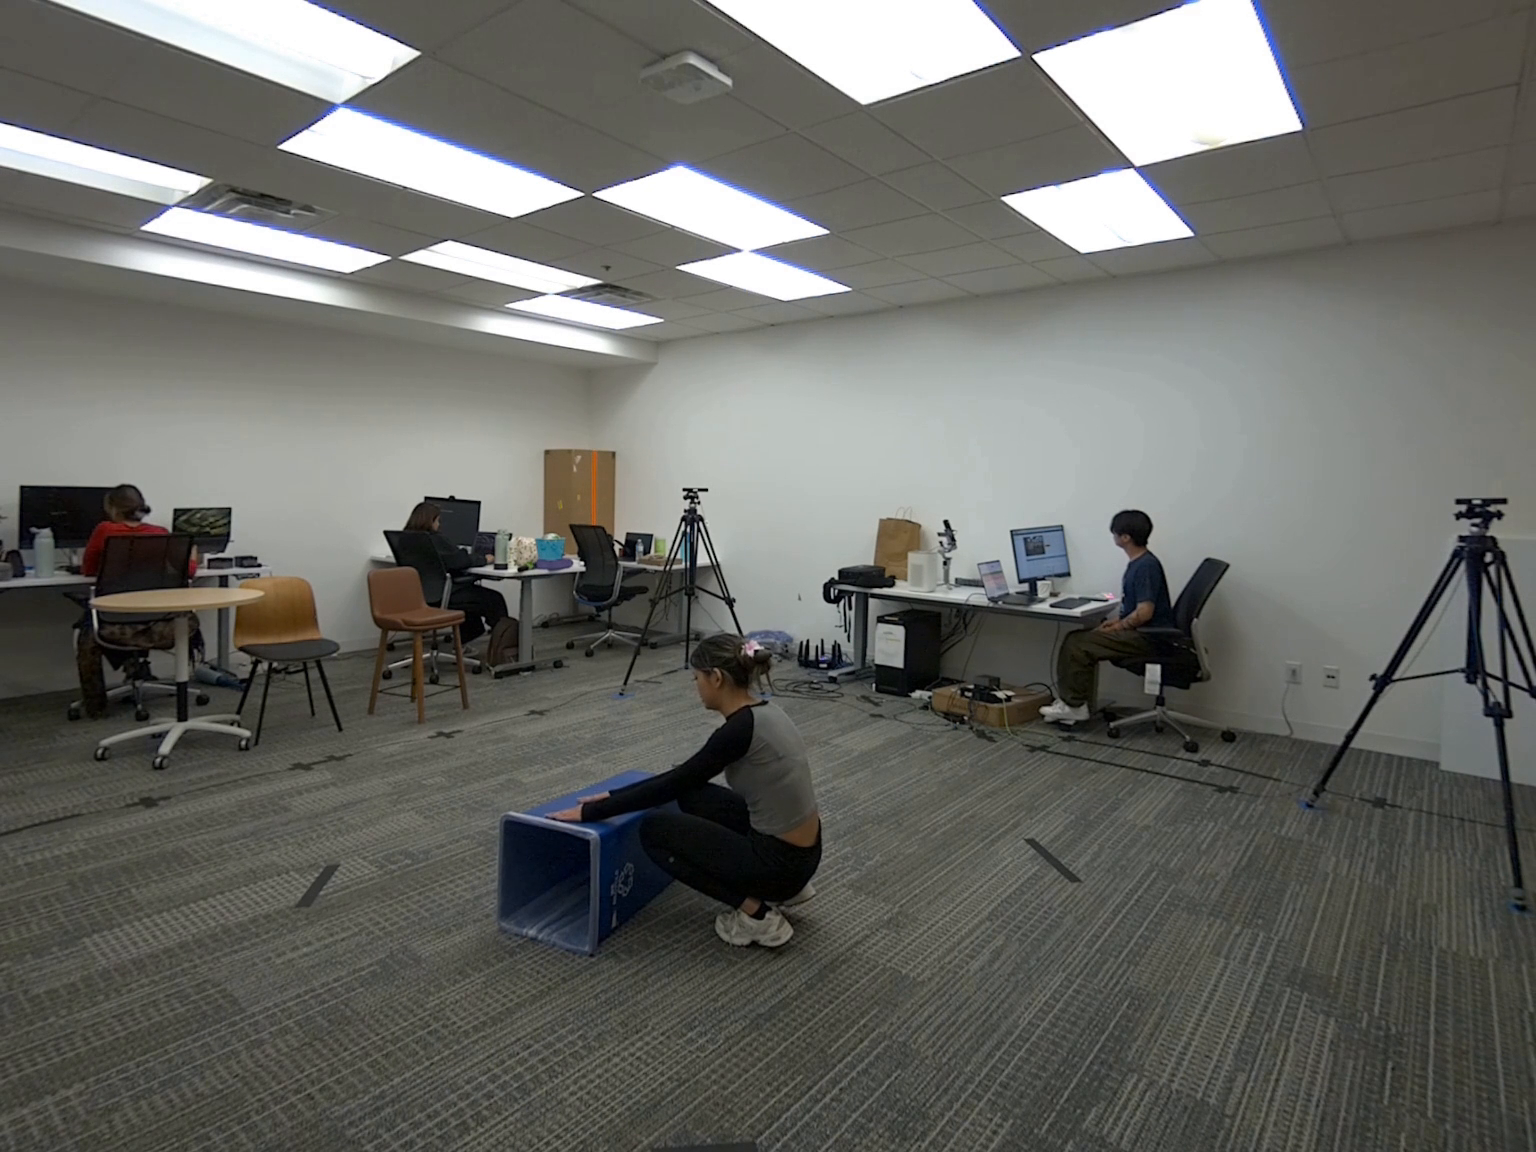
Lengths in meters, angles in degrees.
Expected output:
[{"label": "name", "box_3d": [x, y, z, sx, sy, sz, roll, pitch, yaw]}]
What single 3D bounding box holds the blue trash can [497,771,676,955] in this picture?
[{"label": "blue trash can", "box_3d": [-0.548, 0.915, 2.901, 0.384, 0.377, 0.697, 2, 3, 24]}]
